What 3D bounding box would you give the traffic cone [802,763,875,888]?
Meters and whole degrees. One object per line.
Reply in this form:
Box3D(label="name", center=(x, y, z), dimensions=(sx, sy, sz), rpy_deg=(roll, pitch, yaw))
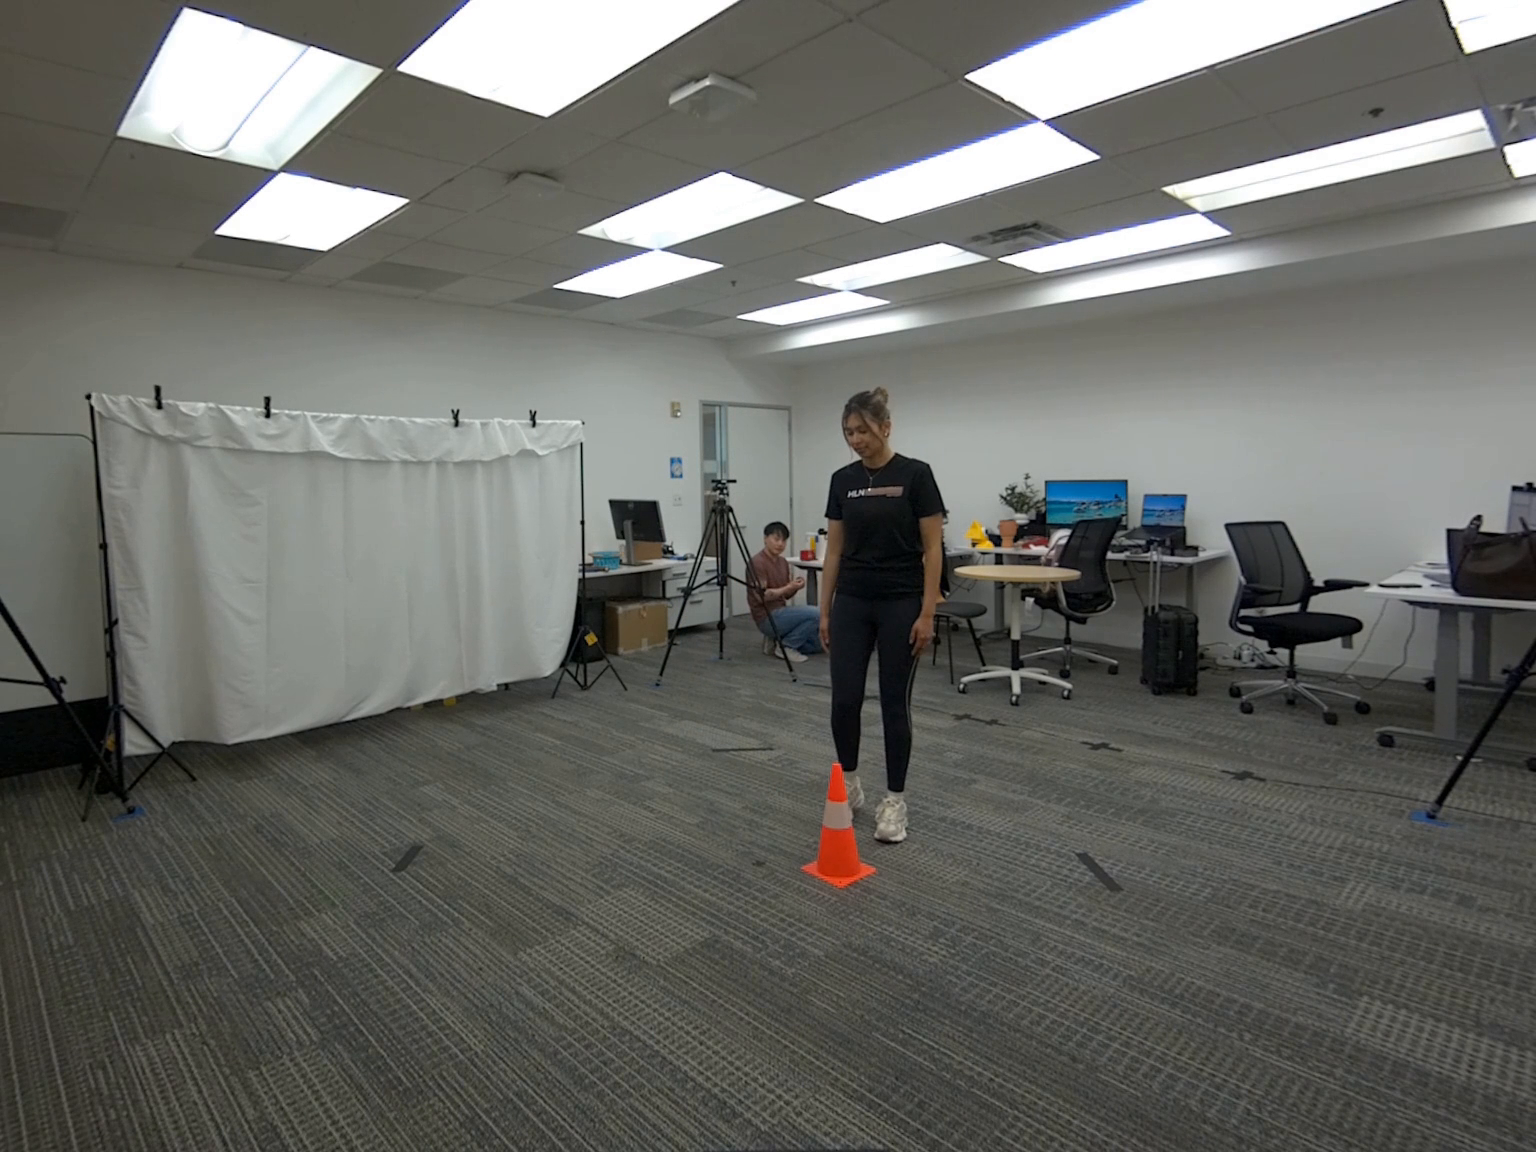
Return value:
Box3D(label="traffic cone", center=(0.257, 0.869, 3.037), dimensions=(0.211, 0.382, 0.198), rpy_deg=(2, 5, 44))
